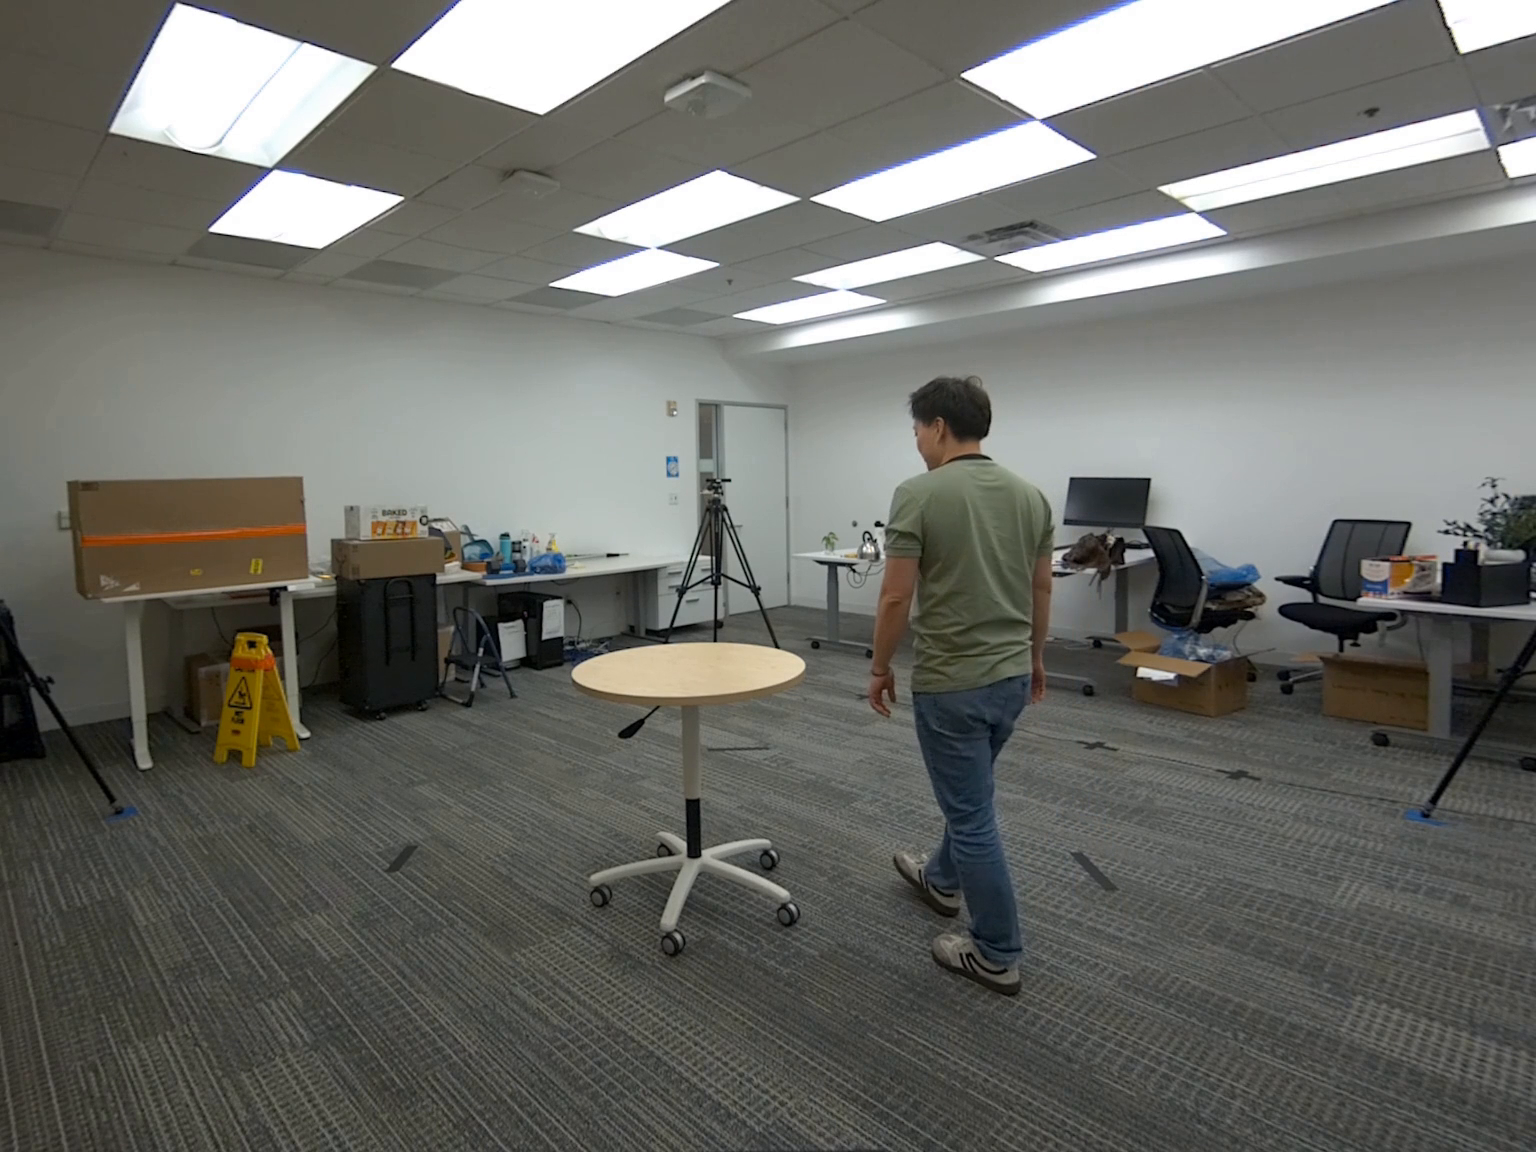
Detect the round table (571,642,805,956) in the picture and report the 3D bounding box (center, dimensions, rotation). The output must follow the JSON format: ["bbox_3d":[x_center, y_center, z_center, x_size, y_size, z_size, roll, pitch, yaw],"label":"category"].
[{"bbox_3d":[-0.241,0.689,2.844,0.763,0.790,0.768,-2,5,-2],"label":"round table"}]
